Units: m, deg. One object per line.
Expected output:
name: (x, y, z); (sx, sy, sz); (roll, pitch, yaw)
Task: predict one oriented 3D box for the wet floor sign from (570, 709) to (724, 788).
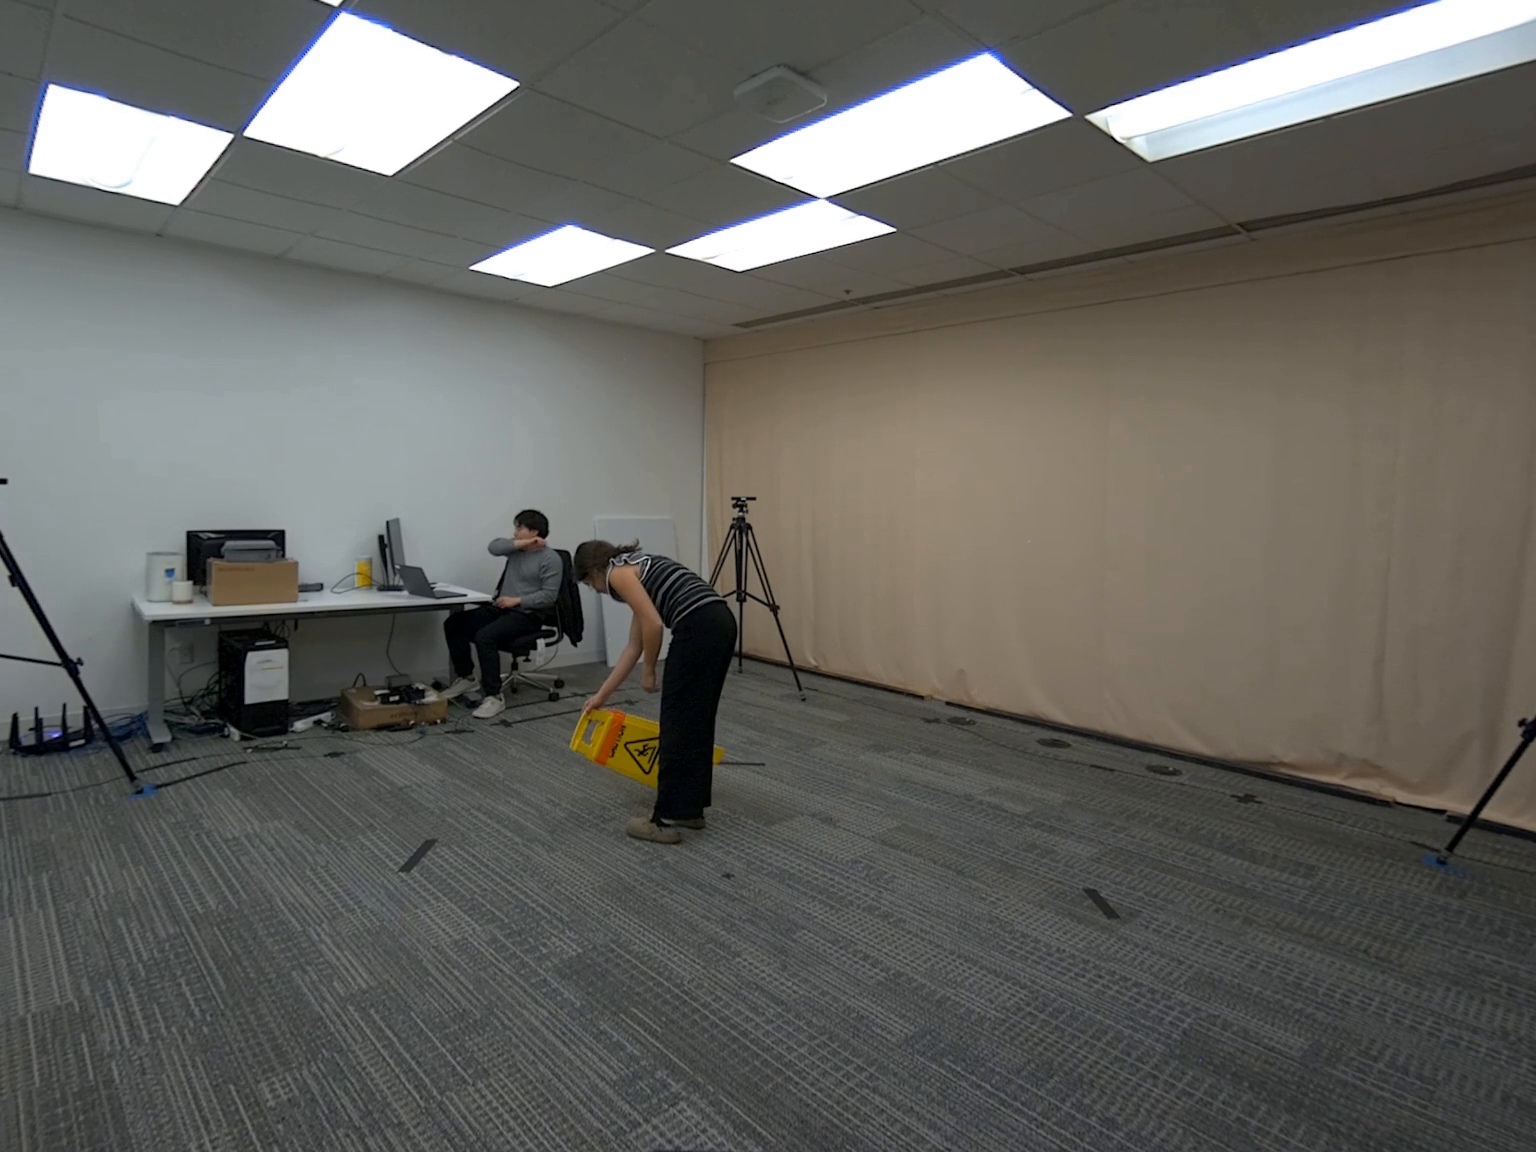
wet floor sign: (-0.579, 0.784, 3.808); (0.631, 0.283, 0.296); (26, -6, -25)
